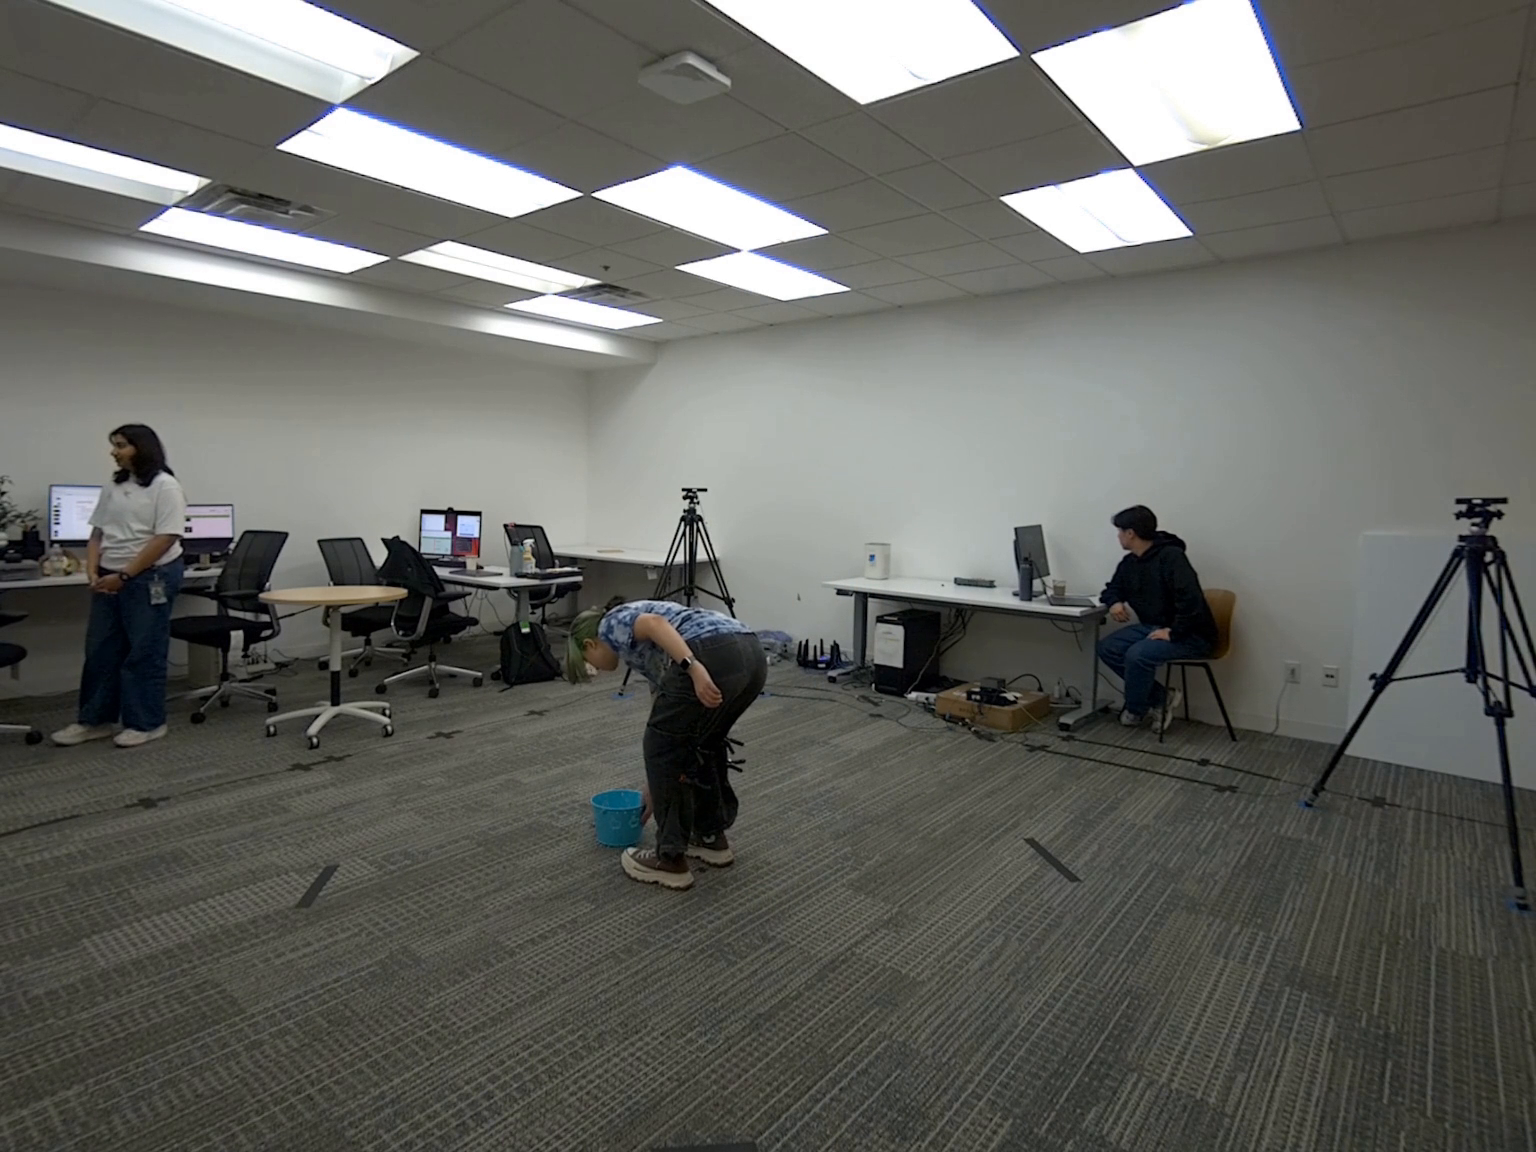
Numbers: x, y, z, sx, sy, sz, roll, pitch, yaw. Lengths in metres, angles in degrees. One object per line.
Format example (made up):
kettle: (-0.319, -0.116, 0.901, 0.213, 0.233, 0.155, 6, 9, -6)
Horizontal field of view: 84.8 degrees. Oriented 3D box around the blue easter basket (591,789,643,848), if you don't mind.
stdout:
blue easter basket: (-0.601, 0.951, 3.384, 0.243, 0.155, 0.244, 0, 4, -2)
